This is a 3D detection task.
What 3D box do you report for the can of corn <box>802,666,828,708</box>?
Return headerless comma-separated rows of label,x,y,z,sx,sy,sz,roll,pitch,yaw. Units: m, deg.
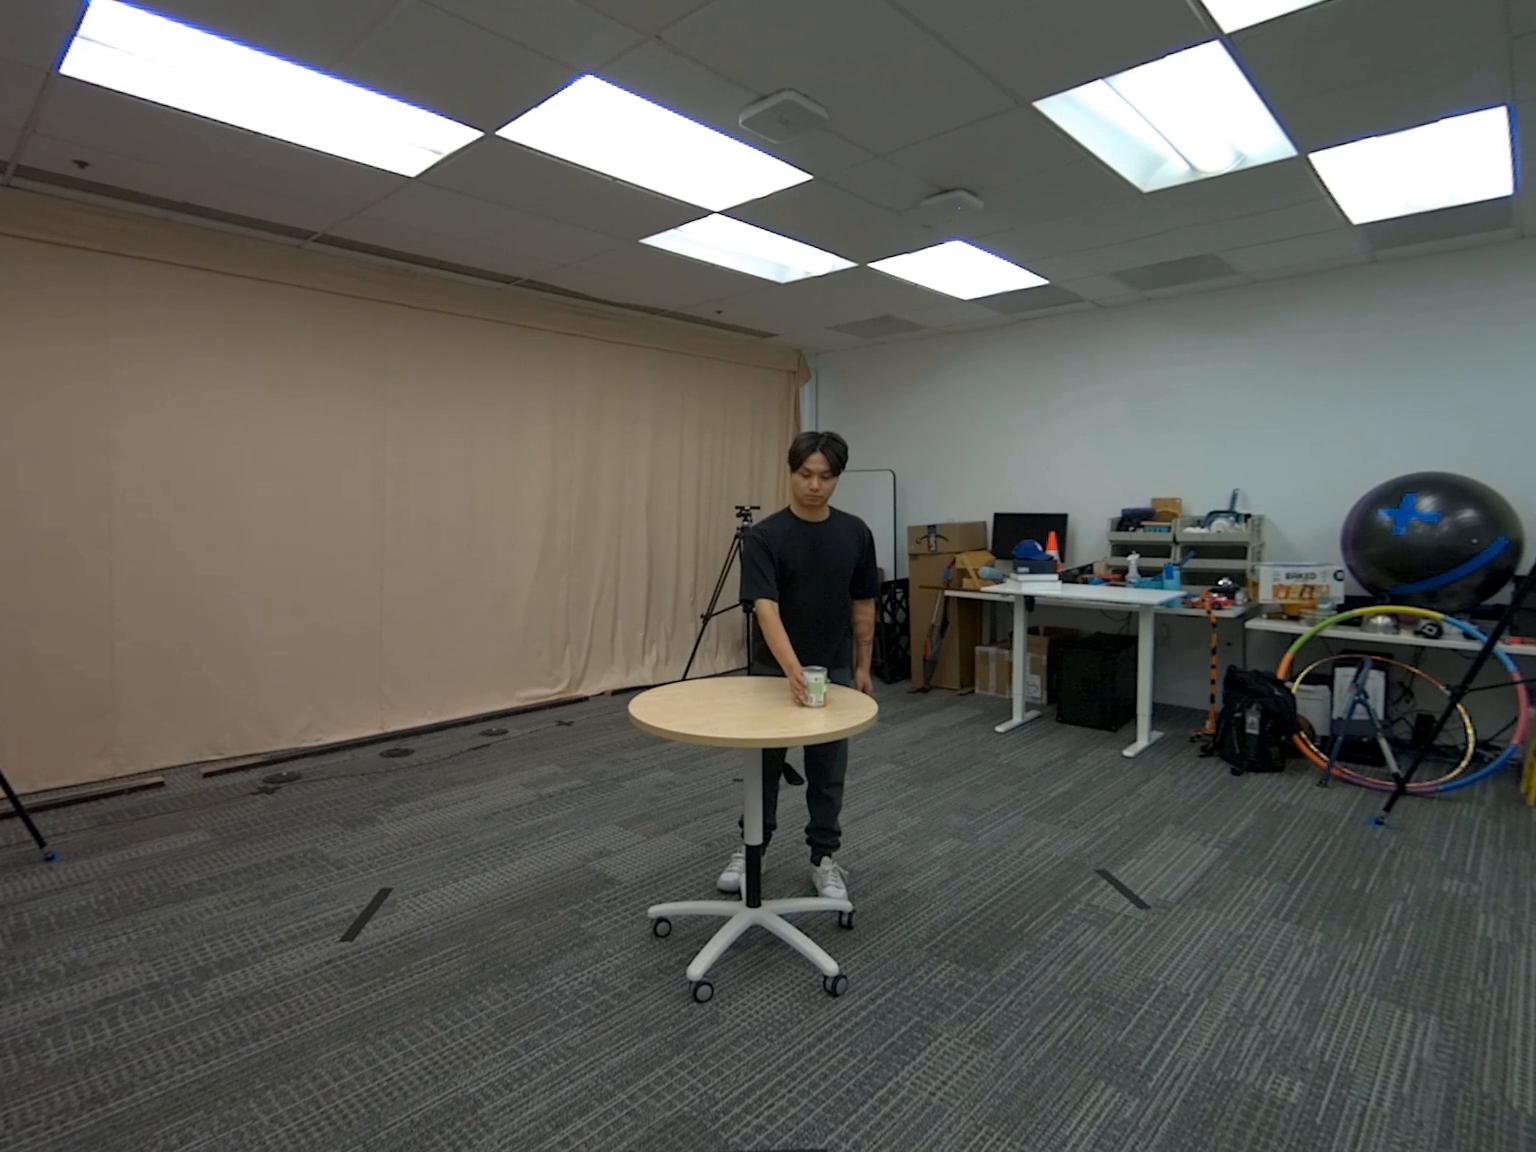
can of corn,0.143,0.337,2.569,0.074,0.111,0.074,1,4,-2
